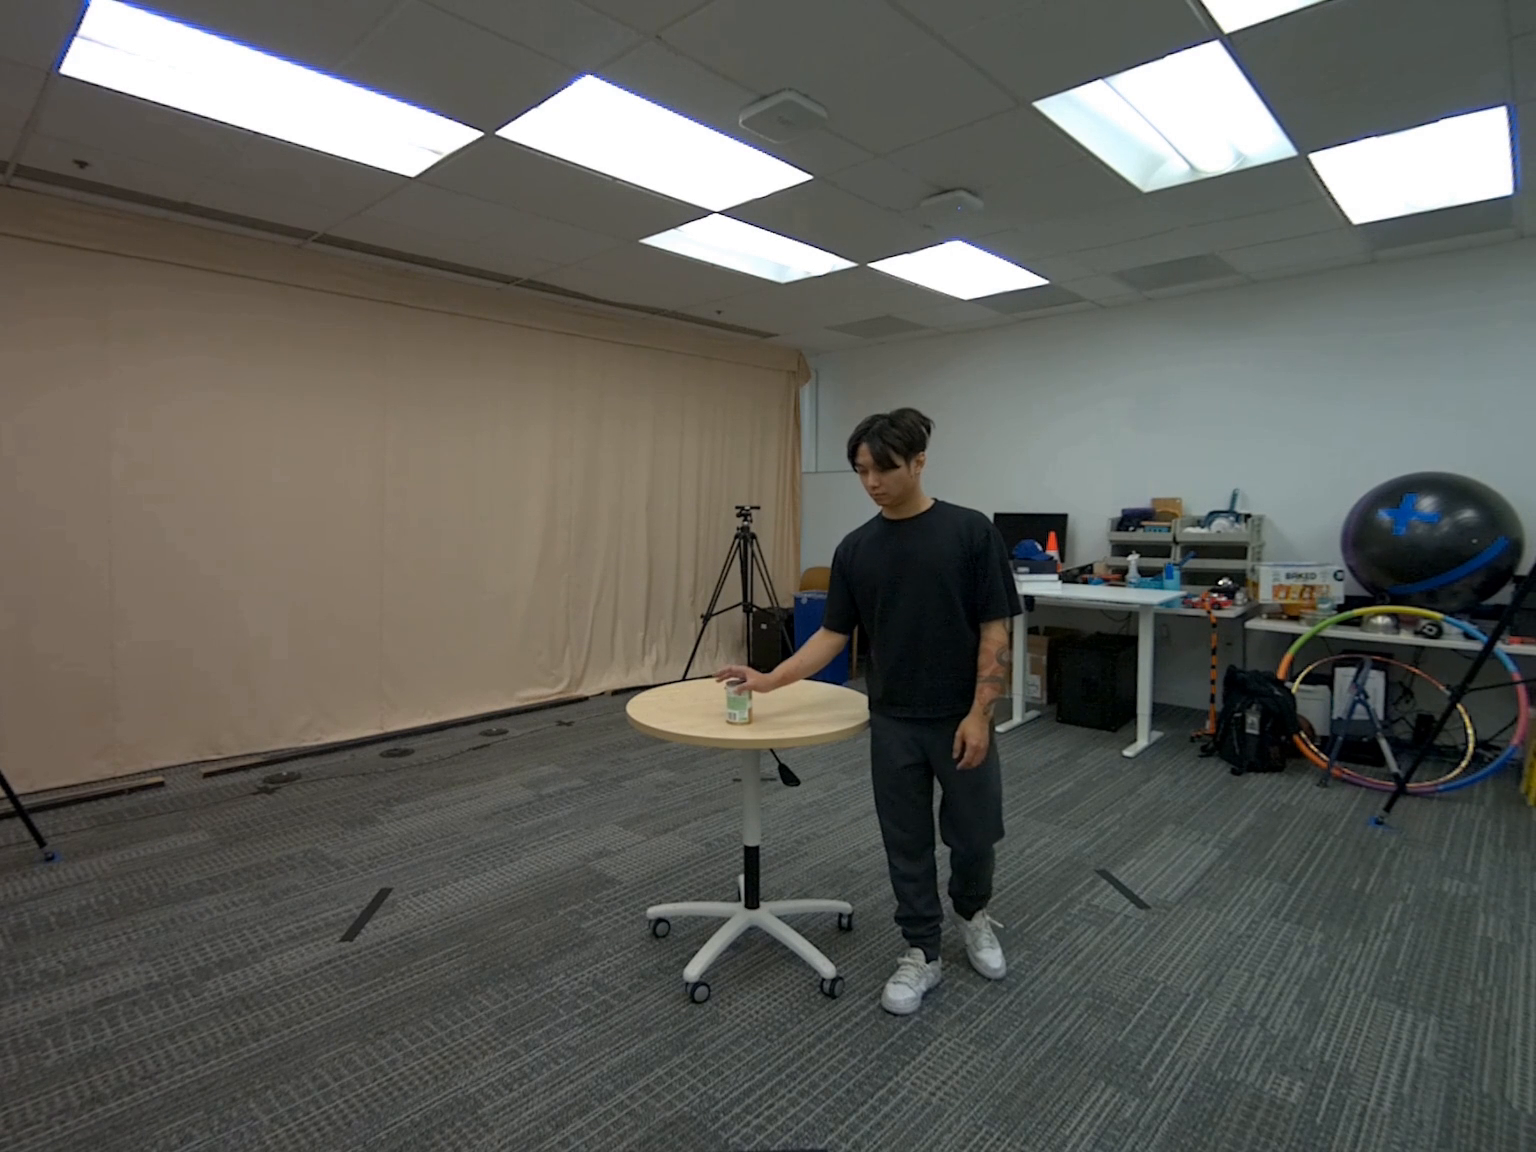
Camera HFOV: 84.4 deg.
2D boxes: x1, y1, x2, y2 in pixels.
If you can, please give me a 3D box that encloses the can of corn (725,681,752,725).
[{"bbox_3d":[-0.077,0.359,2.381,0.074,0.111,0.074,-3,2,-2],"label":"can of corn"}]
